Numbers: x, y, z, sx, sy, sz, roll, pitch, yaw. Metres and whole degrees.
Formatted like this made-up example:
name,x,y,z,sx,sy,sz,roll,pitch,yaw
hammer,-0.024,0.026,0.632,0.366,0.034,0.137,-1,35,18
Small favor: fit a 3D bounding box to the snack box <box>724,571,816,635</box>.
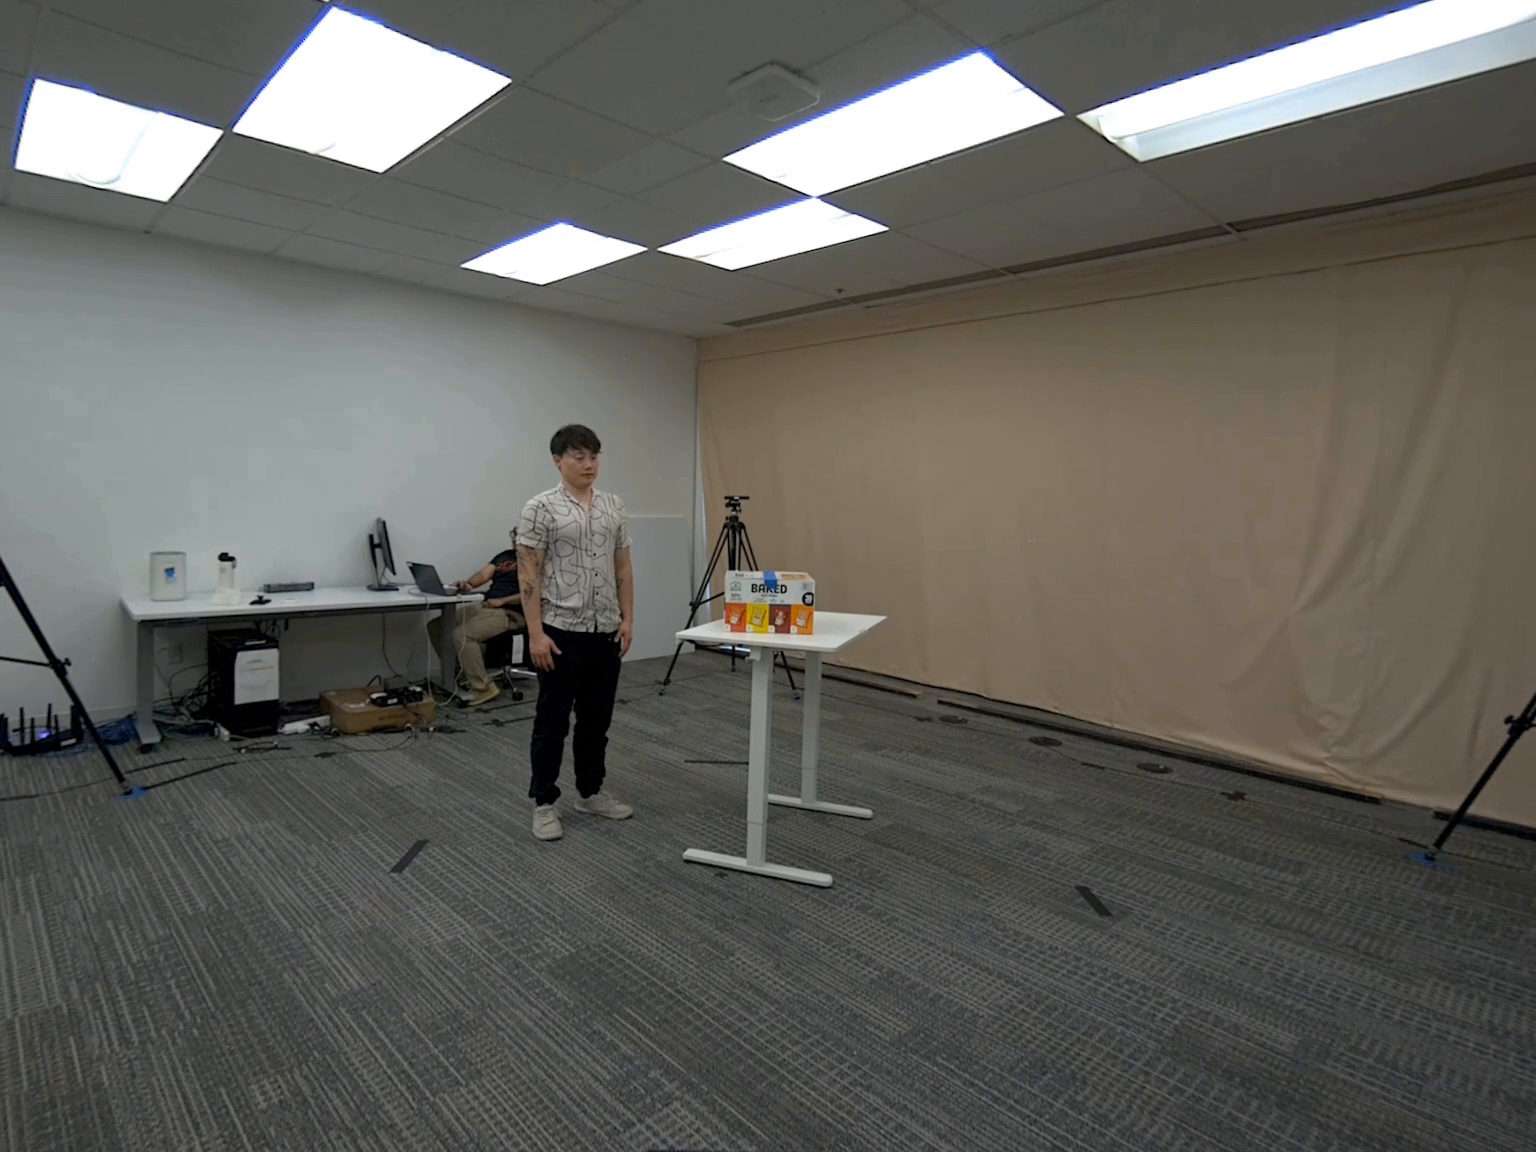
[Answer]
name,x,y,z,sx,sy,sz,roll,pitch,yaw
snack box,-0.012,0.097,3.361,0.340,0.205,0.406,2,4,0
